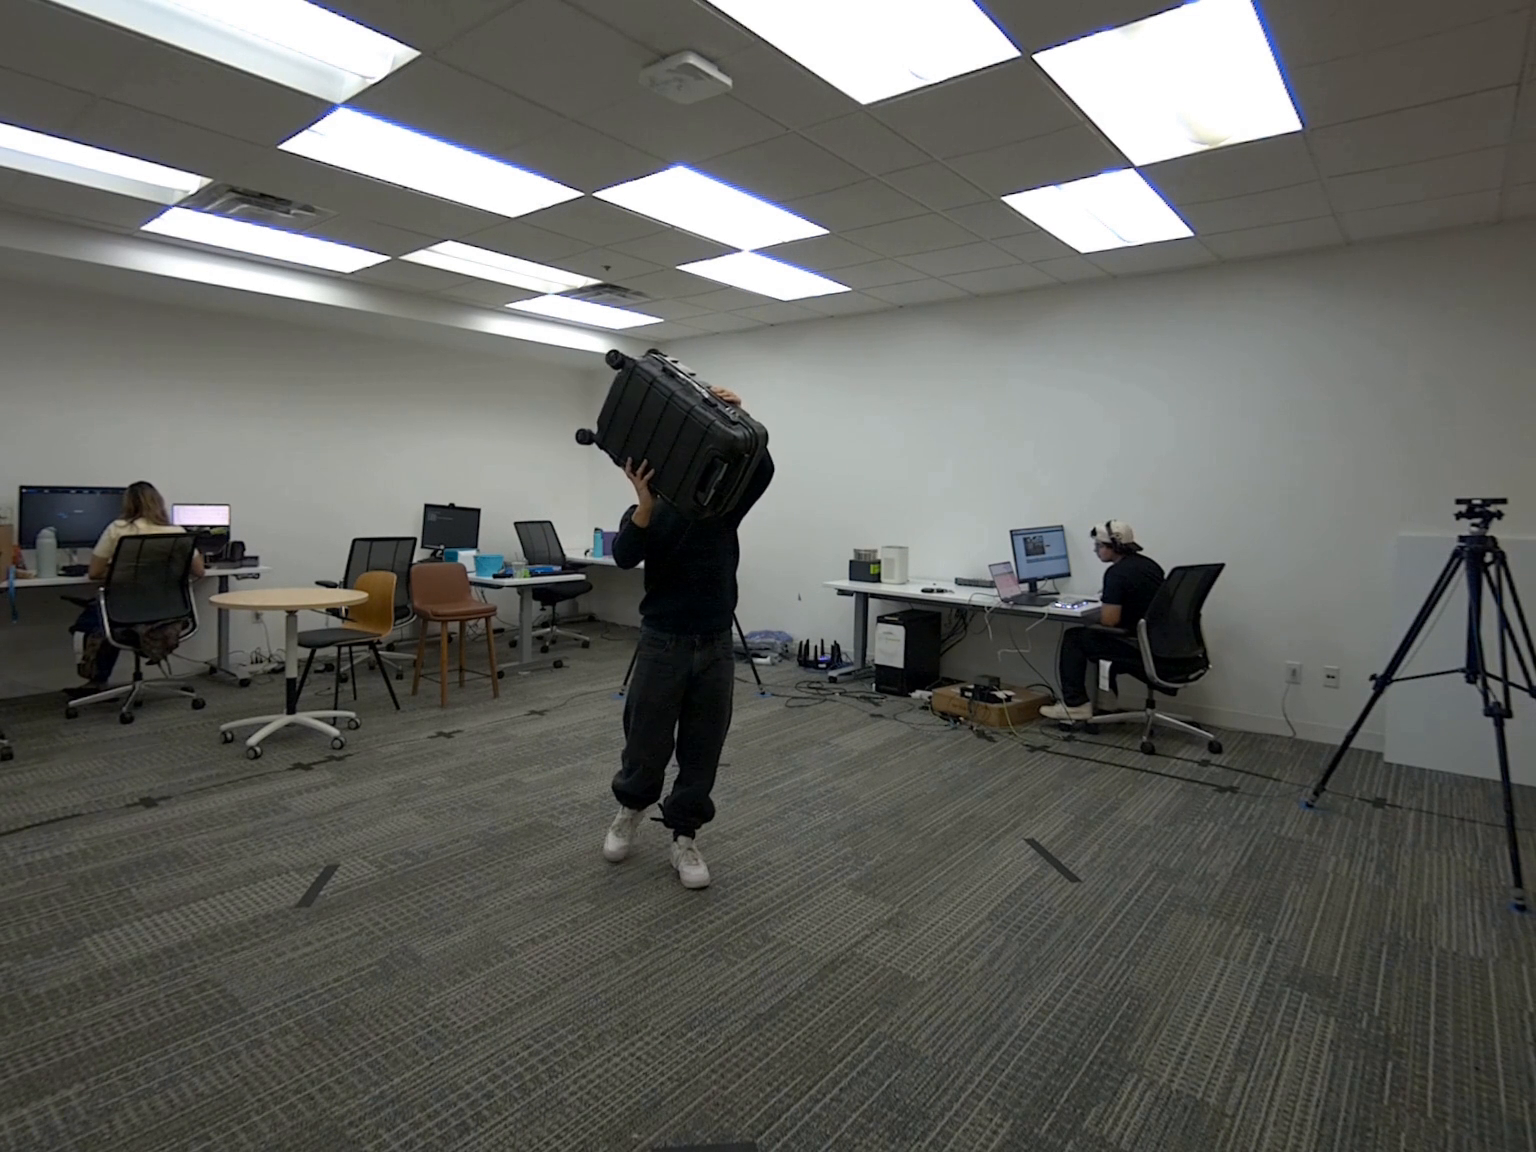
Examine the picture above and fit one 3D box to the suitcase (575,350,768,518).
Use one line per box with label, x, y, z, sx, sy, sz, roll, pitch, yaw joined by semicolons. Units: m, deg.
suitcase;-0.309;-0.456;2.719;0.565;0.372;0.243;38;28;20
